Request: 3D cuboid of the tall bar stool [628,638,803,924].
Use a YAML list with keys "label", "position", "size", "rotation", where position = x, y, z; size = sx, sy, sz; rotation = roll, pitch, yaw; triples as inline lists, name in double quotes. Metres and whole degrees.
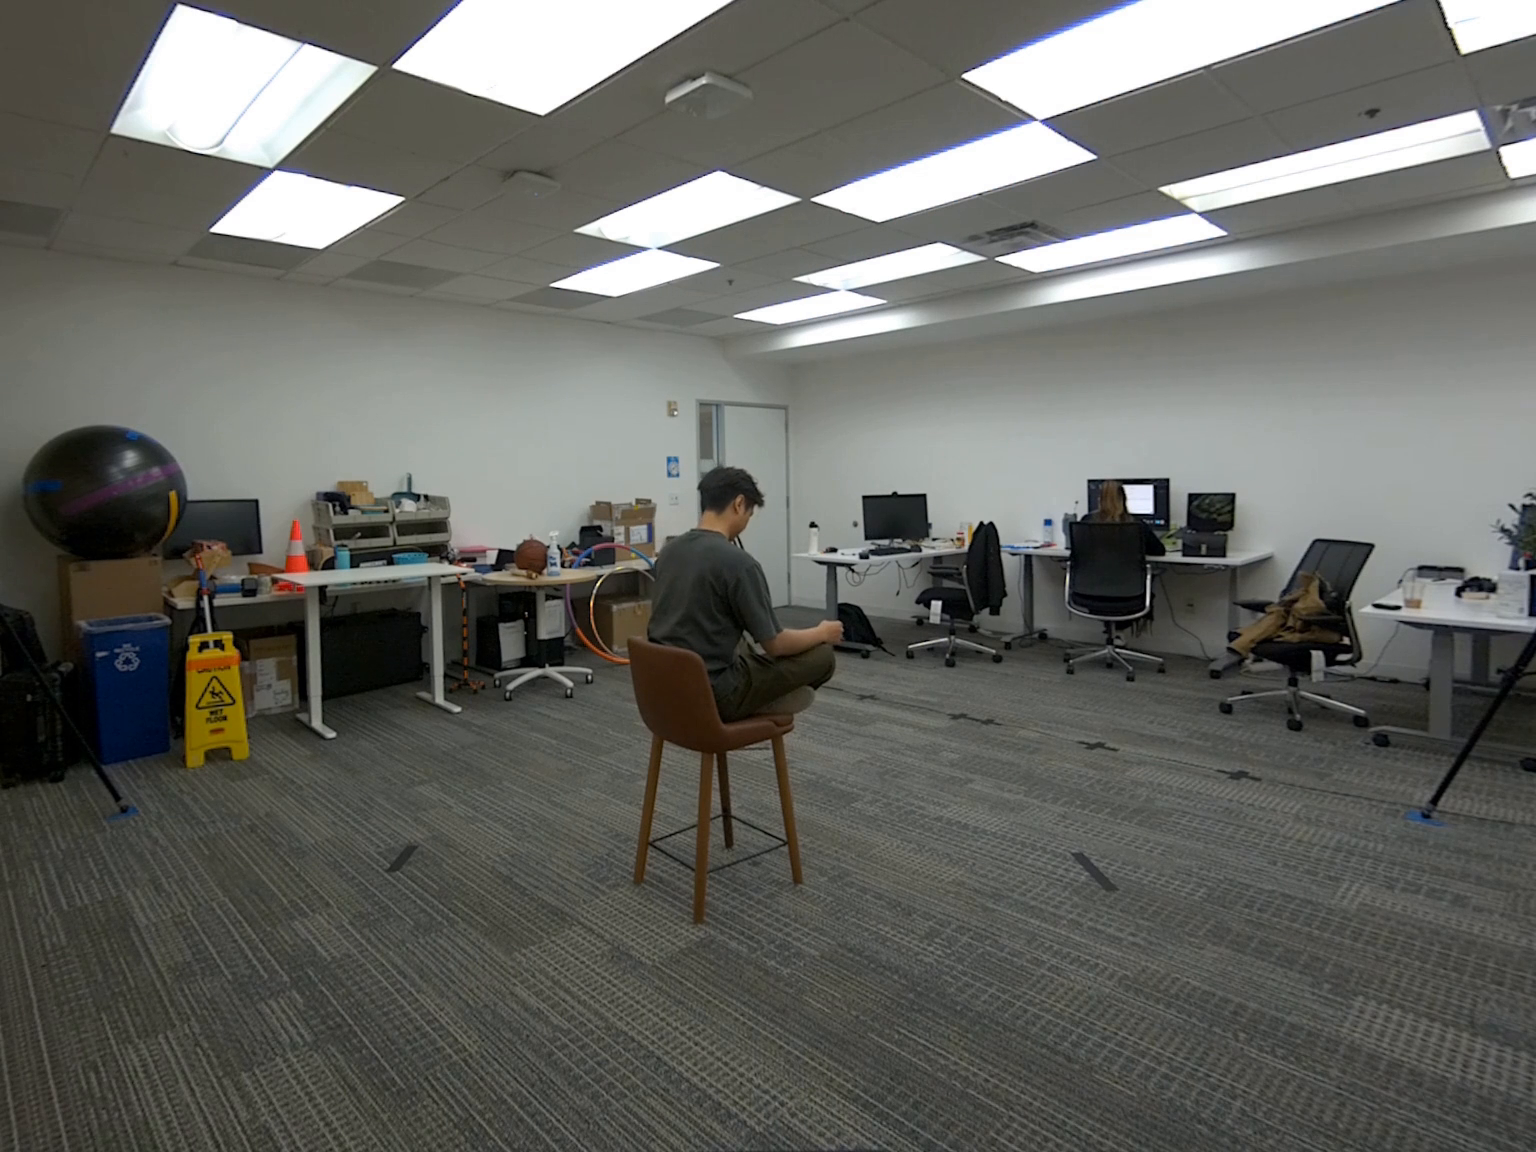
- label: "tall bar stool"
  position: [-0.193, 0.631, 2.935]
  size: [0.456, 0.885, 0.470]
  rotation: [-8, 8, -40]
